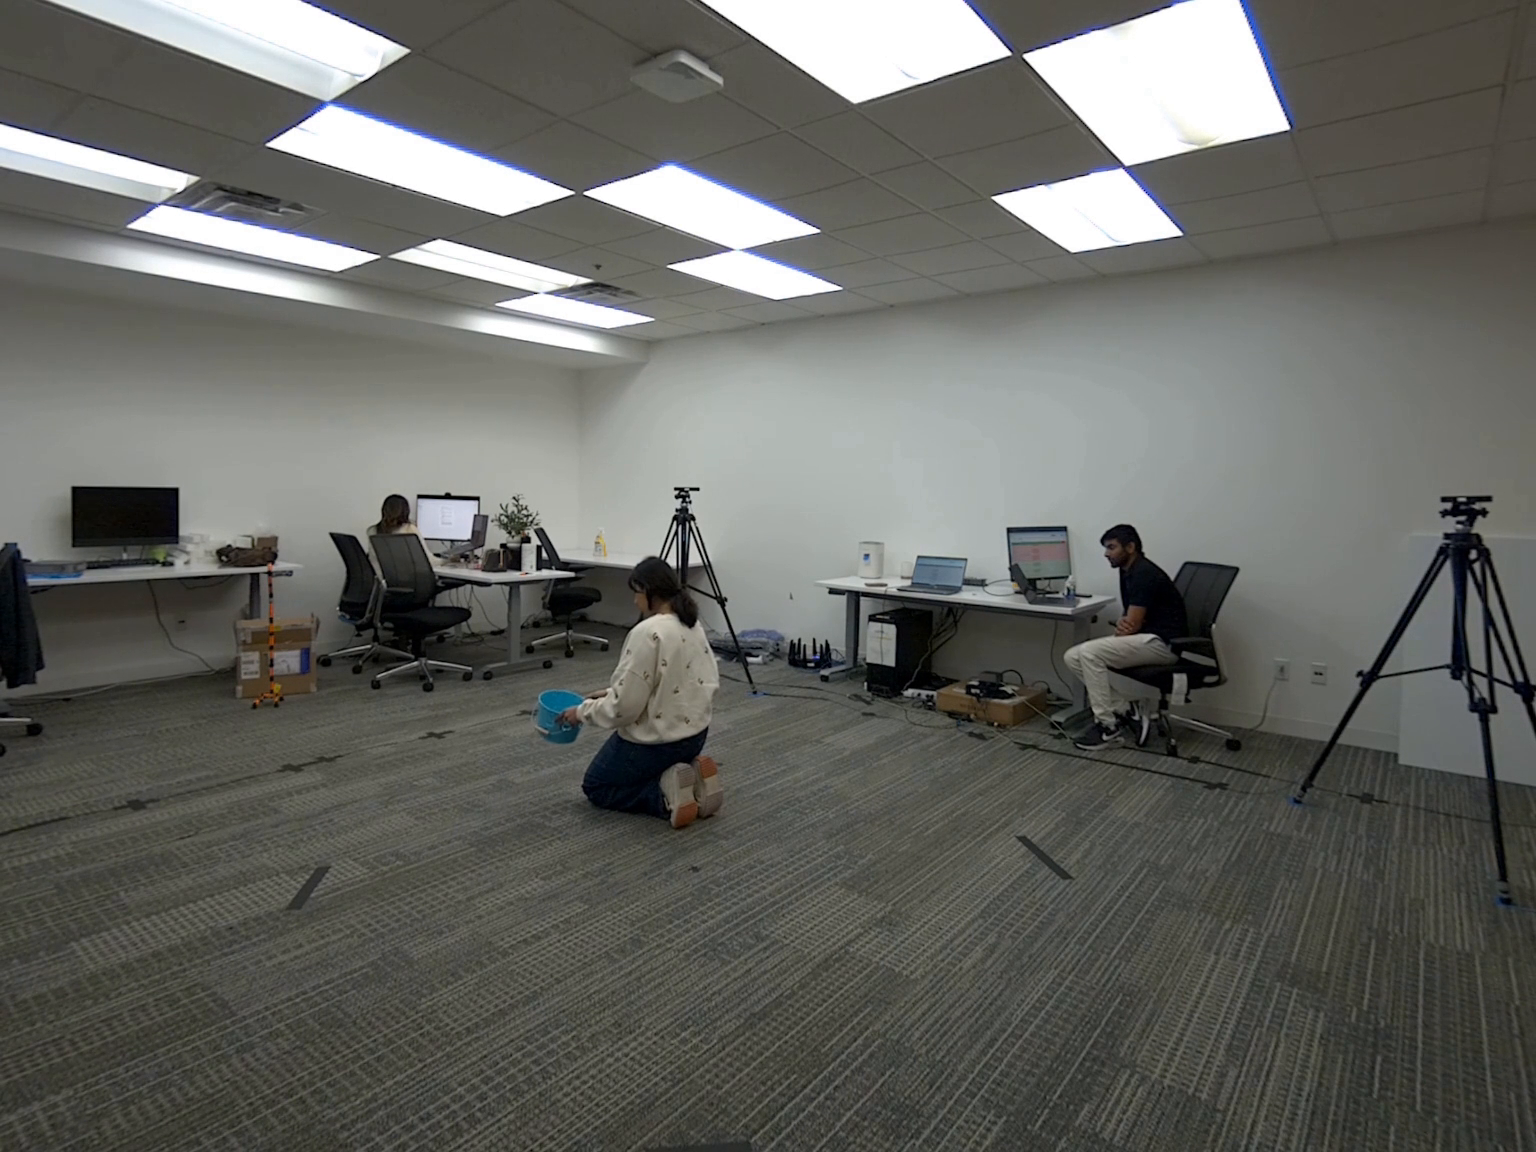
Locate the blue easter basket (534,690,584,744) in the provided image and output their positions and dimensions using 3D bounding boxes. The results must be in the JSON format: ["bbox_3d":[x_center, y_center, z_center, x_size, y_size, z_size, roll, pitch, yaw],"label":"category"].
[{"bbox_3d":[-0.931,0.623,3.753,0.242,0.155,0.247,14,12,-5],"label":"blue easter basket"}]
